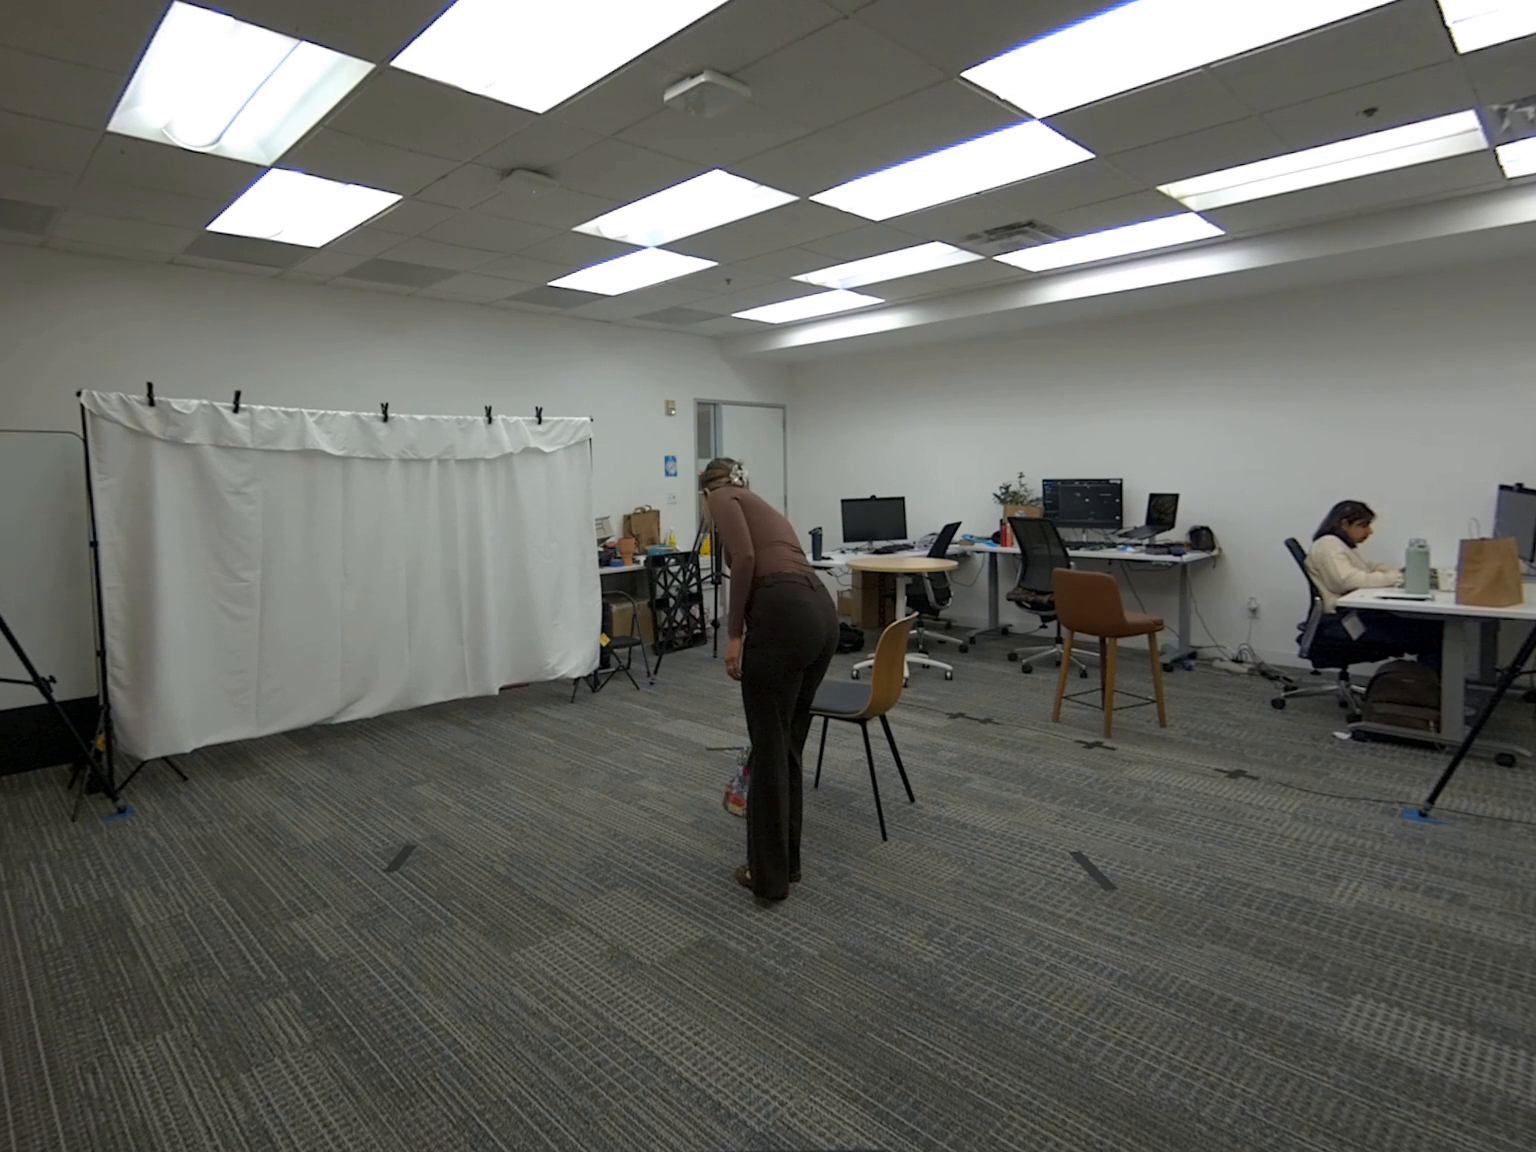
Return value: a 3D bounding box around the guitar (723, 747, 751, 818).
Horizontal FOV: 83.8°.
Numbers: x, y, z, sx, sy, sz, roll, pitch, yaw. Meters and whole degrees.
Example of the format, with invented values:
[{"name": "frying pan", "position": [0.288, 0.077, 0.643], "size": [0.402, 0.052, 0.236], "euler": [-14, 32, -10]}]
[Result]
[{"name": "guitar", "position": [-0.029, 0.679, 3.289], "size": [0.068, 0.499, 0.199], "euler": [25, -7, -36]}]
